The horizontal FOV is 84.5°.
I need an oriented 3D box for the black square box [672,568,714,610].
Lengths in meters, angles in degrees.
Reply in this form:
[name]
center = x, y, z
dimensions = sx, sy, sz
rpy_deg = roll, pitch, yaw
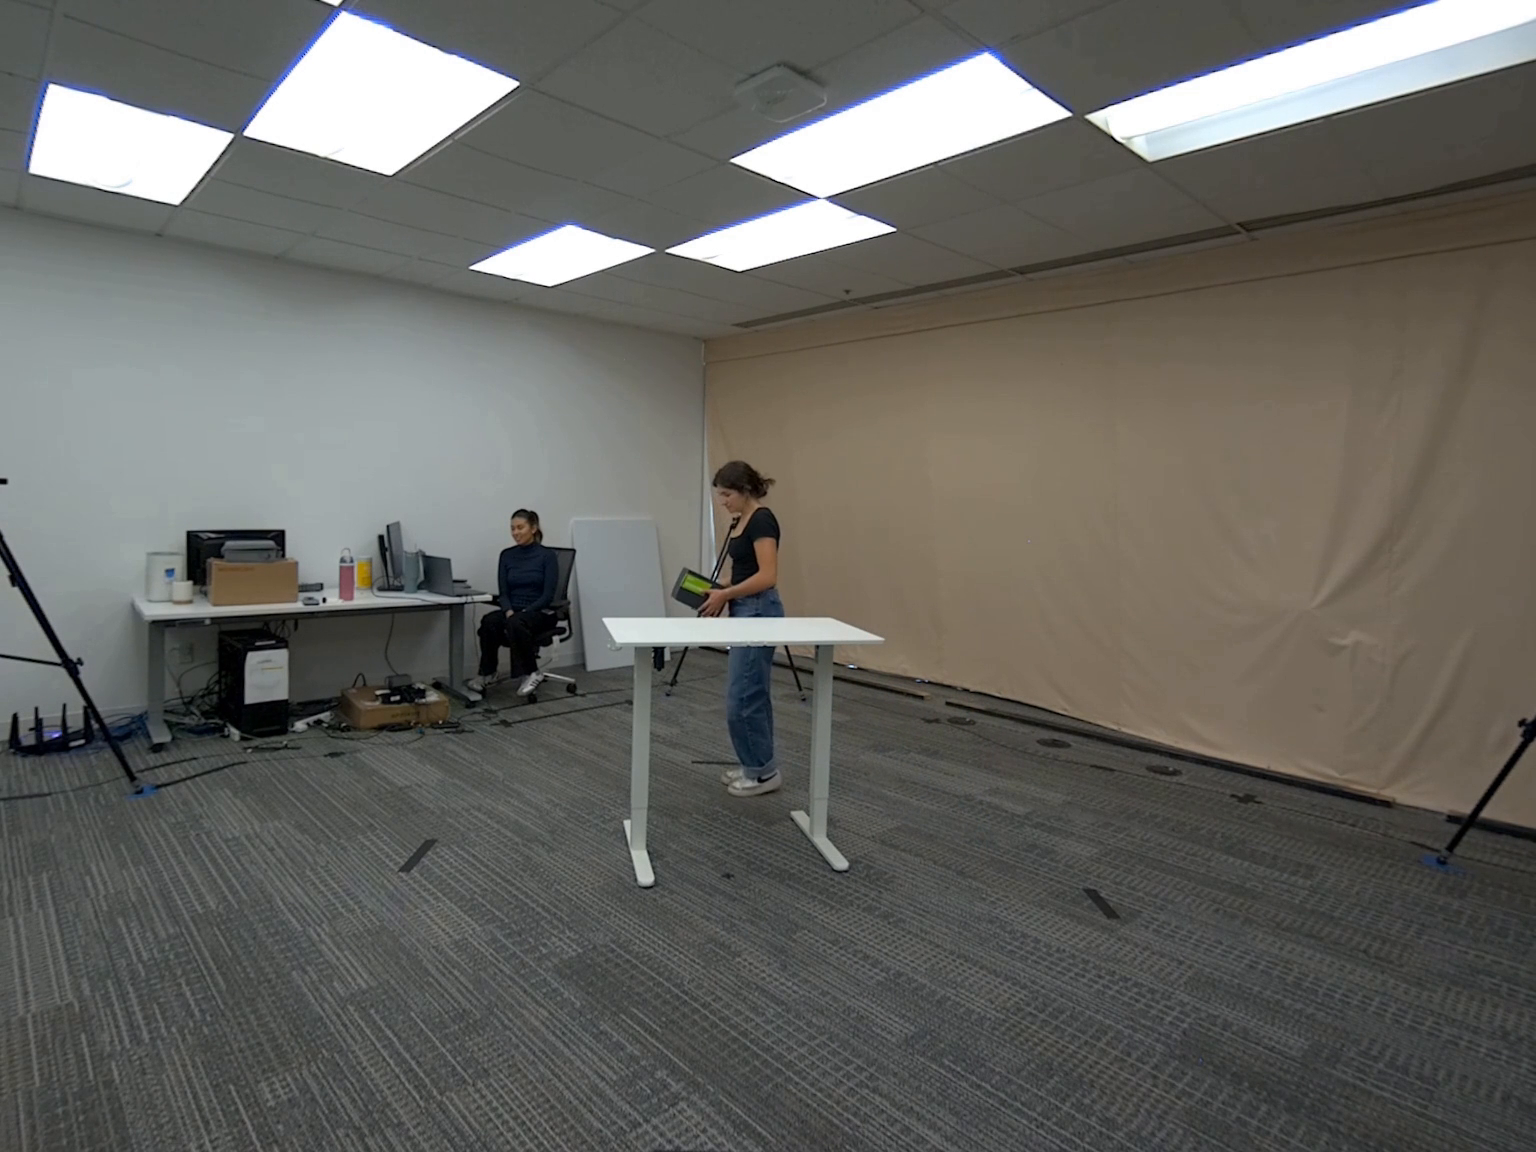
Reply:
[black square box]
center = -0.326, 0.077, 4.061
dimensions = 0.225, 0.156, 0.219
rpy_deg = 24, -1, -12
